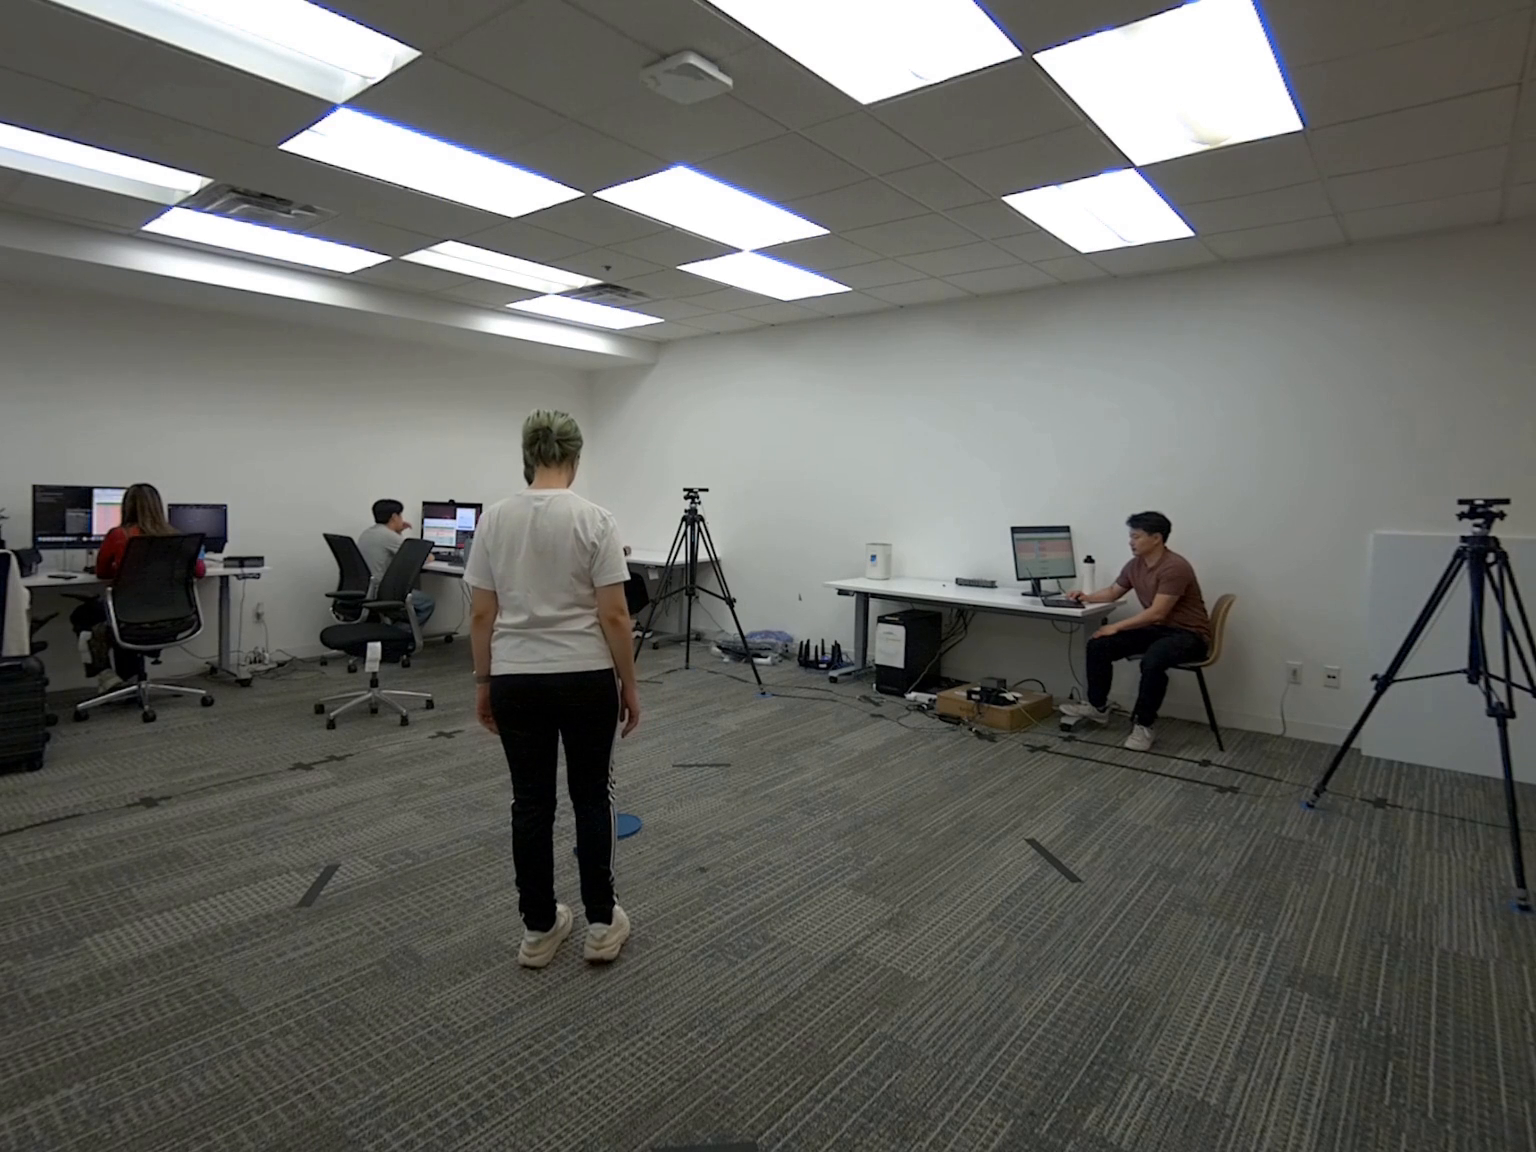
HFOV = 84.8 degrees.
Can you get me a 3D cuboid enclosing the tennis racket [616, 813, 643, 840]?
[{"bbox_3d":[-0.662,1.018,3.397,0.218,0.032,0.424,3,4,19],"label":"tennis racket"}]
